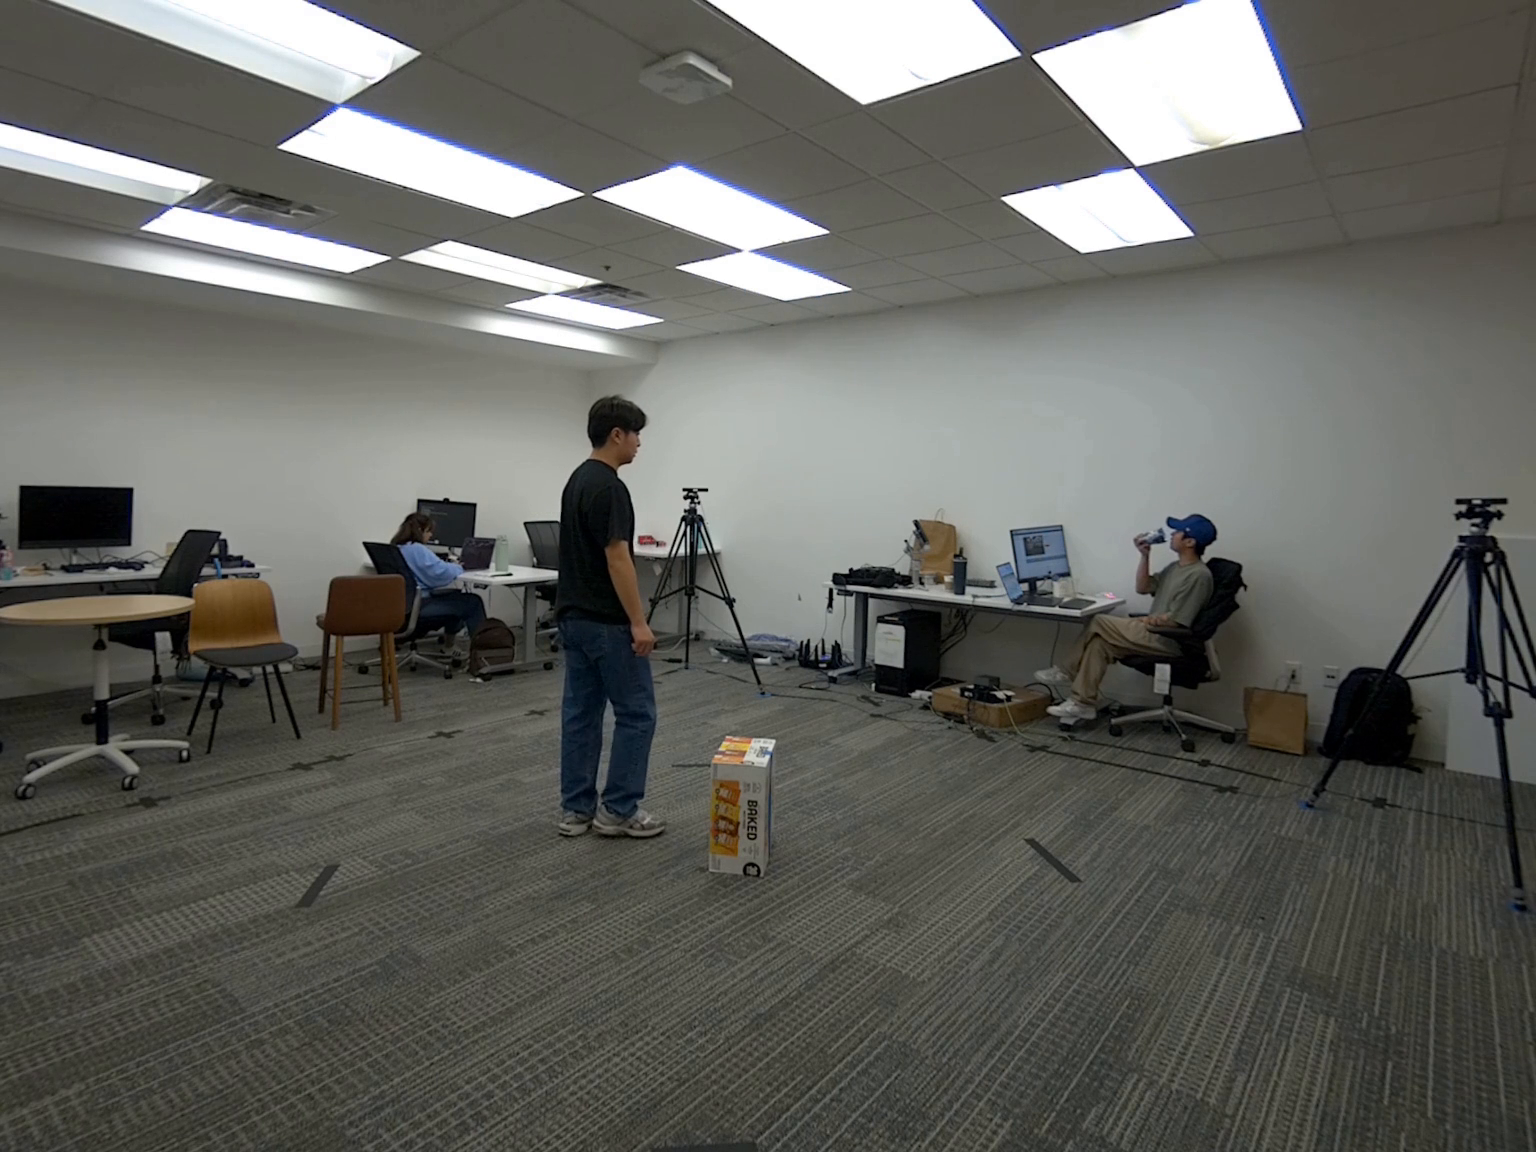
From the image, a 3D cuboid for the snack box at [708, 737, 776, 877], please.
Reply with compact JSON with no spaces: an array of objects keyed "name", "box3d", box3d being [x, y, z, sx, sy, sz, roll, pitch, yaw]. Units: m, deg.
[{"name":"snack box","box3d":[-0.102,0.856,3.225,0.208,0.404,0.338,2,4,8]}]
